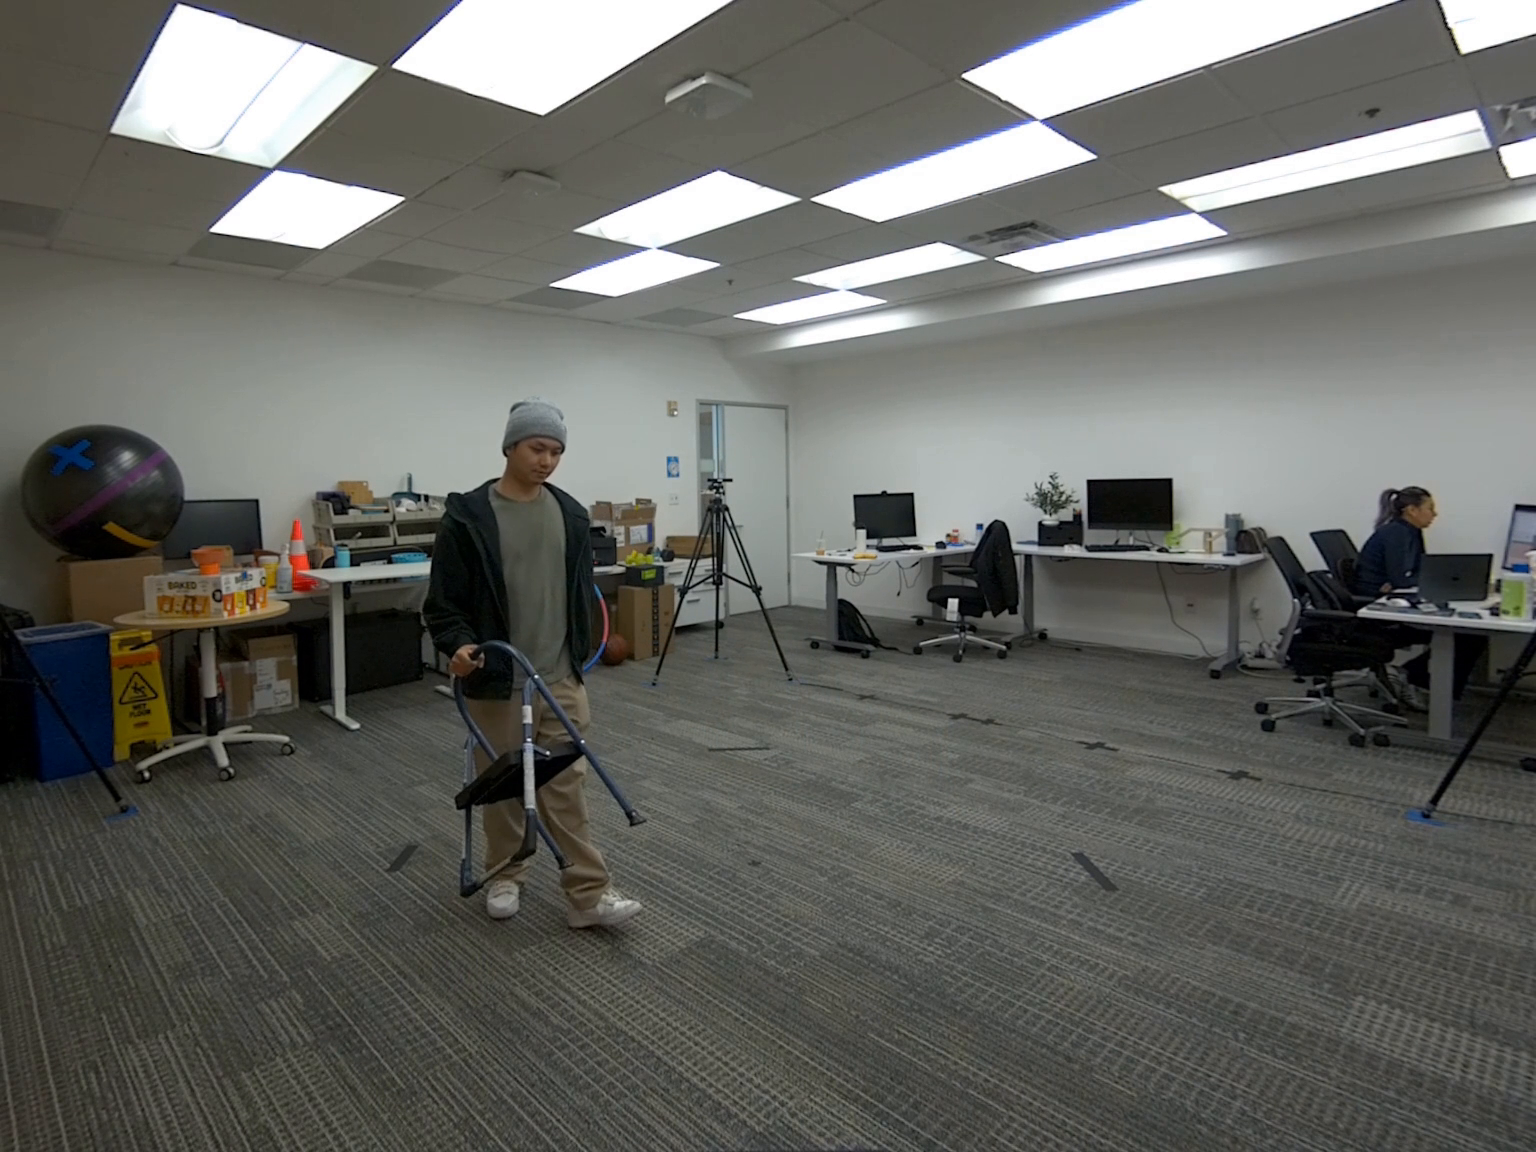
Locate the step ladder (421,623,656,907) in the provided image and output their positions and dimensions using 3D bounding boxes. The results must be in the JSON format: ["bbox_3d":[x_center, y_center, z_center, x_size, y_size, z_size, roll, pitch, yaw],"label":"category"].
[{"bbox_3d":[-0.657,0.501,2.372,0.339,0.622,0.432,2,-33,-43],"label":"step ladder"}]
